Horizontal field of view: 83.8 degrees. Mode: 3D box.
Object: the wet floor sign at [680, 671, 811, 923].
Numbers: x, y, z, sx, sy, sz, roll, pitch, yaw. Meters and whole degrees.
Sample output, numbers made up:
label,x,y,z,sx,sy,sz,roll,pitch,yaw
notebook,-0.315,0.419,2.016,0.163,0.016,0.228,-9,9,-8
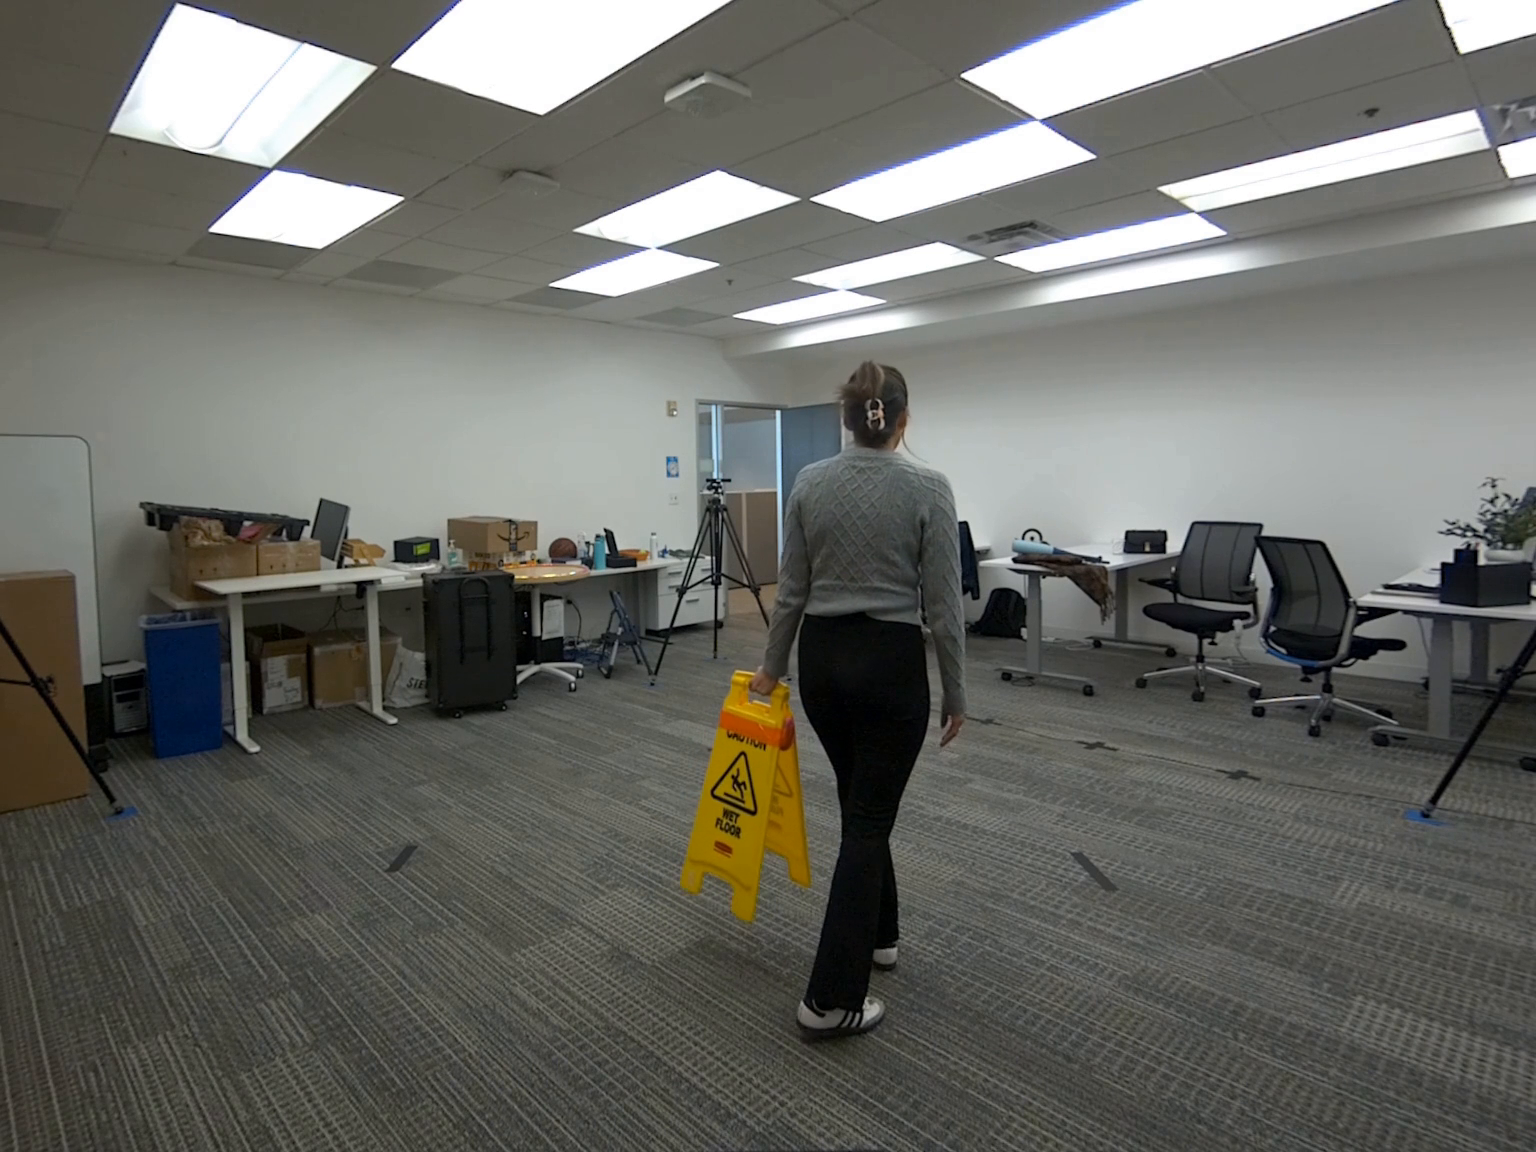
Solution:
label,x,y,z,sx,sy,sz,roll,pitch,yaw
wet floor sign,-0.038,0.614,2.534,0.291,0.643,0.282,9,7,39
